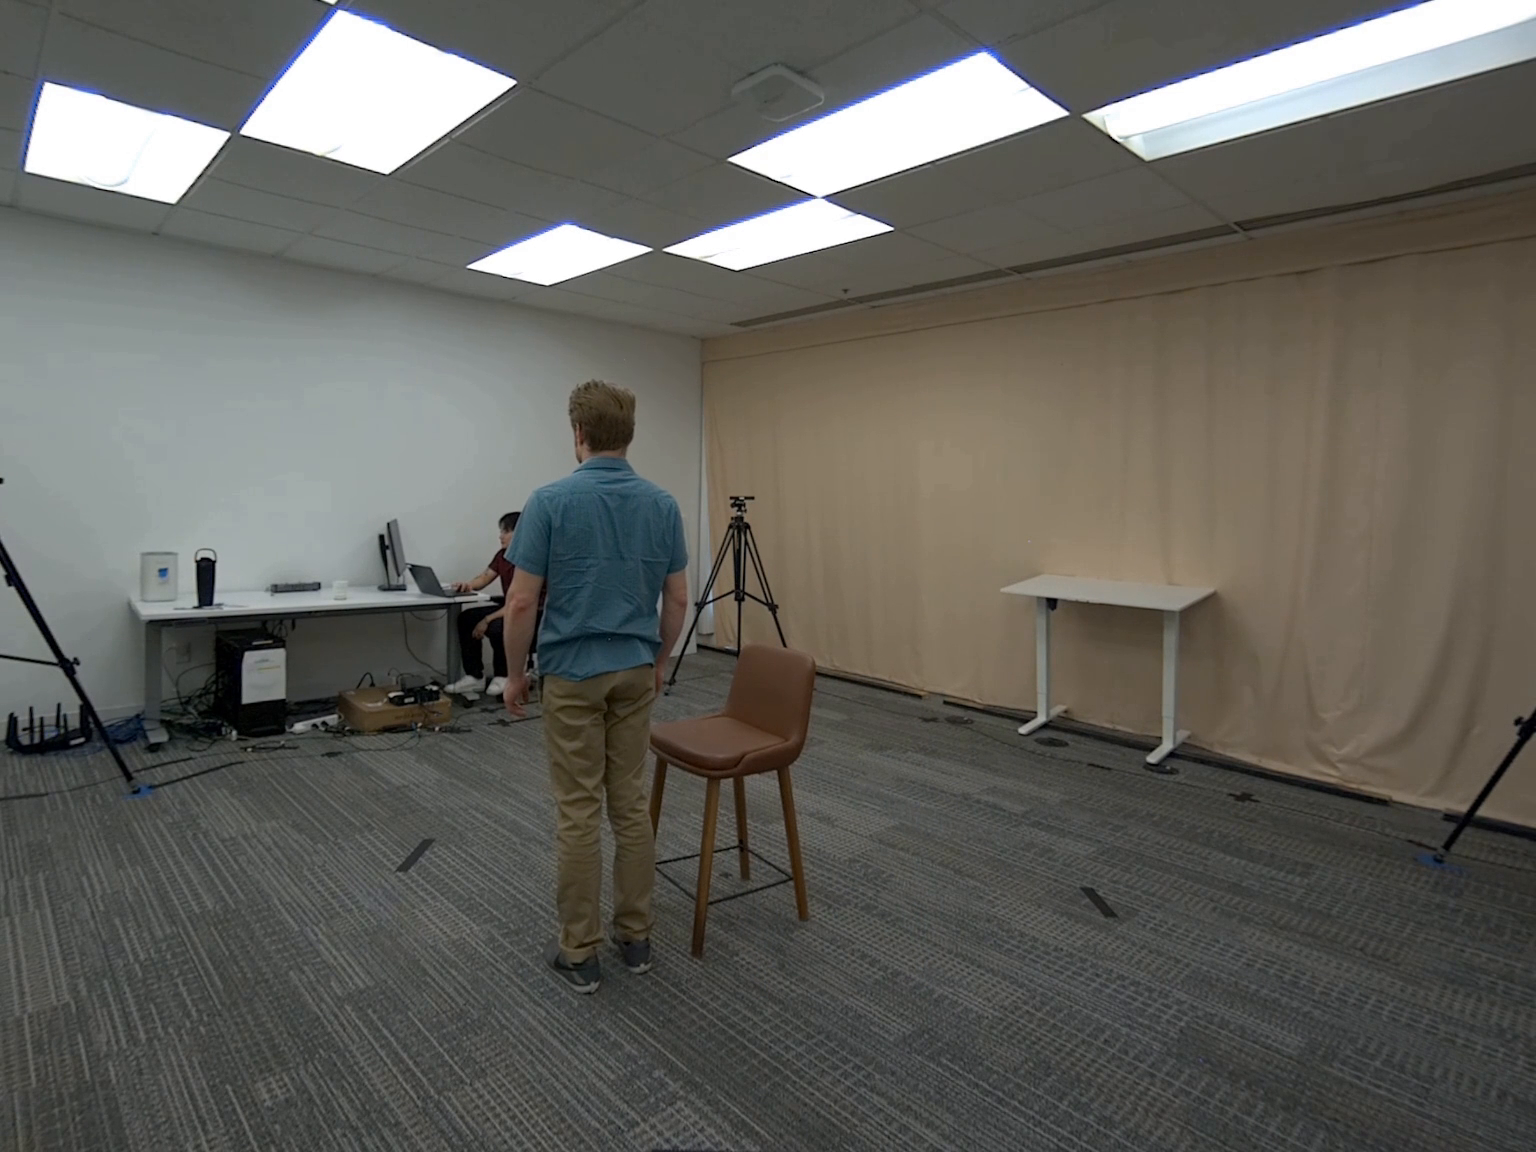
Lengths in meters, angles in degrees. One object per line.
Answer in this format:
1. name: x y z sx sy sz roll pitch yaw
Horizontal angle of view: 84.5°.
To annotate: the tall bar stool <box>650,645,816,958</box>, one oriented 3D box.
1. tall bar stool: -0.142 0.698 2.803 0.457 0.888 0.467 1 2 -34
